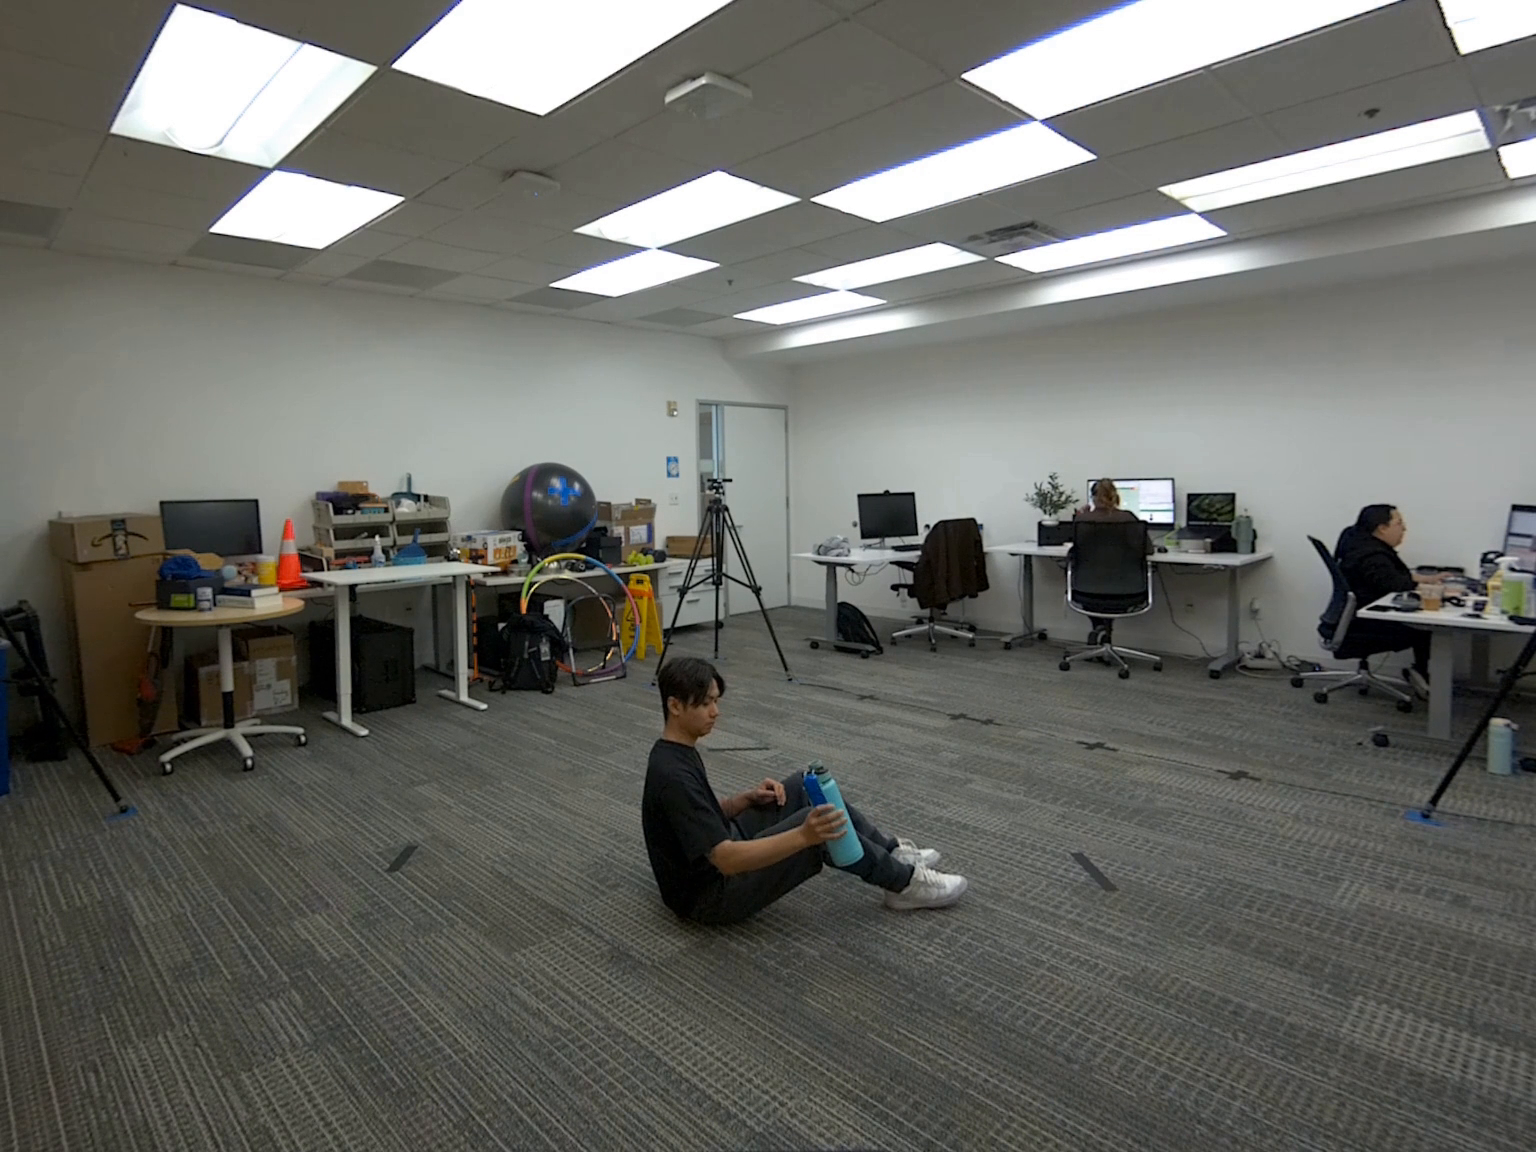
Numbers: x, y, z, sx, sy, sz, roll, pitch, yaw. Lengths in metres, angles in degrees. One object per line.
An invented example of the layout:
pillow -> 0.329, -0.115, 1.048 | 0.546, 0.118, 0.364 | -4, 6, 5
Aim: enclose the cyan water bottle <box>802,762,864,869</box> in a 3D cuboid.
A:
cyan water bottle -> 0.179, 0.665, 2.419 | 0.092, 0.283, 0.092 | -21, 0, -1
